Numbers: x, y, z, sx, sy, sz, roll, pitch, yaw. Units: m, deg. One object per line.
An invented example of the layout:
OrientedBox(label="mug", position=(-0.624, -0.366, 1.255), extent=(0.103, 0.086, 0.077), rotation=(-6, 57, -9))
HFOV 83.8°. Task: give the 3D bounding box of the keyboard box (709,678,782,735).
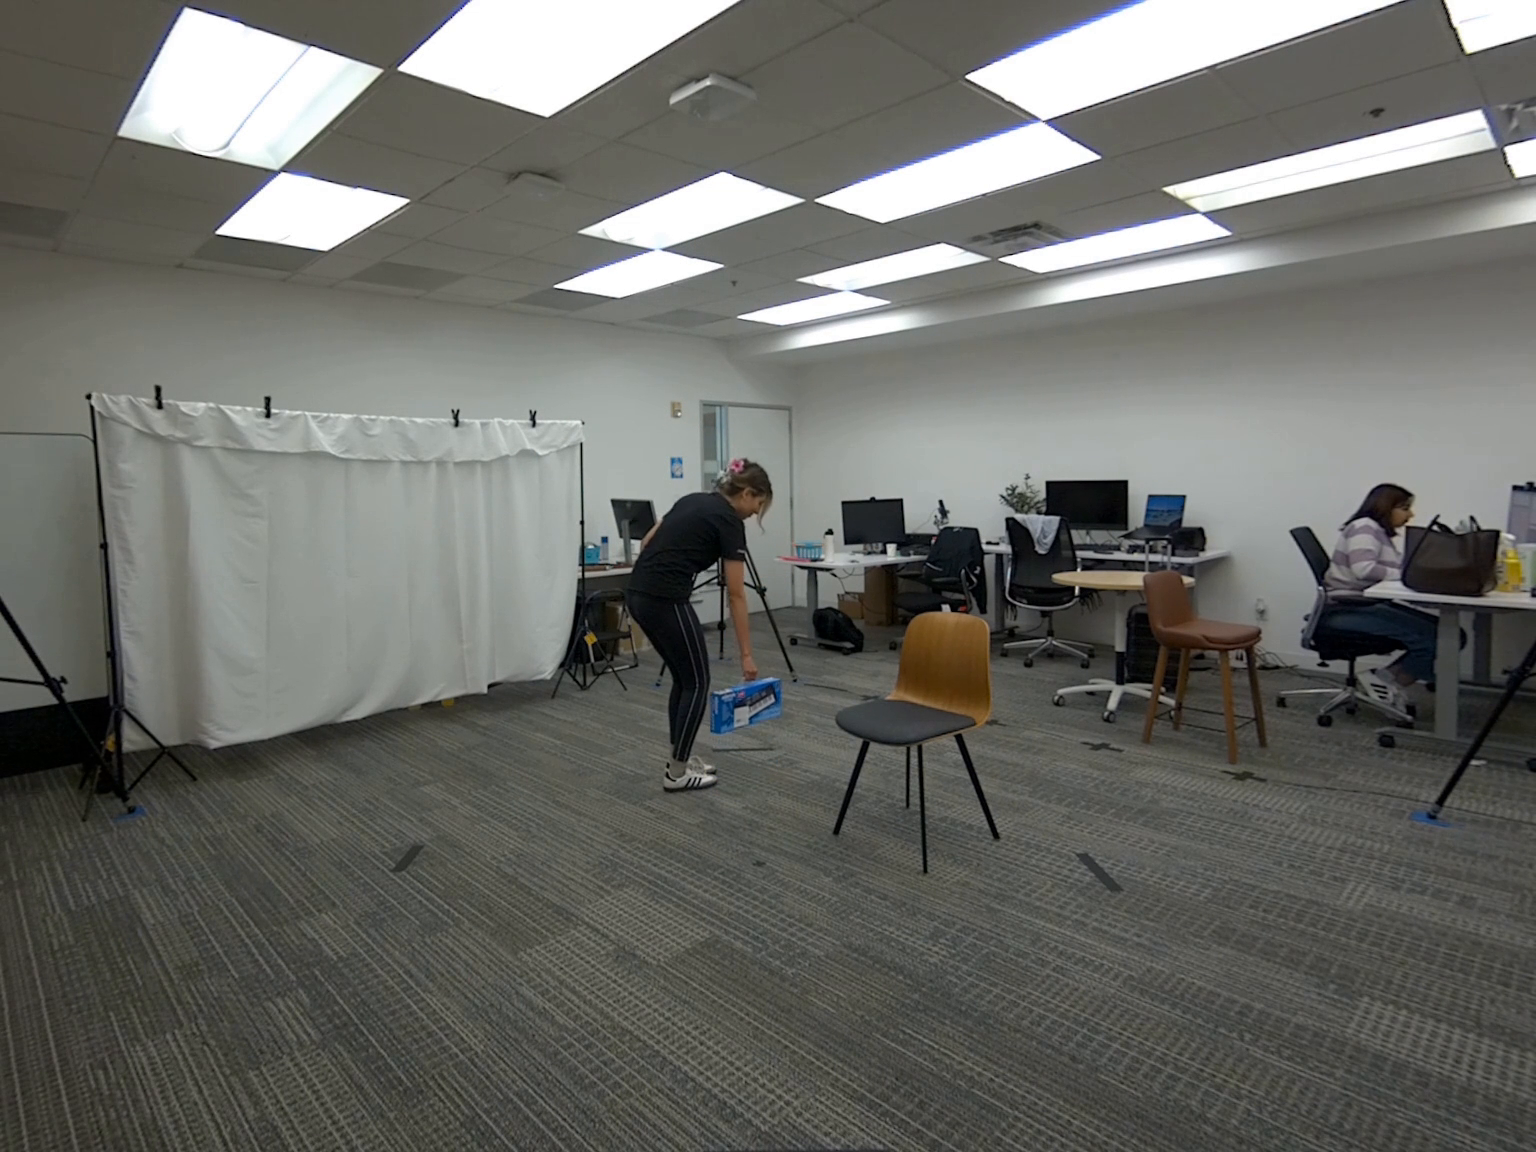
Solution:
OrientedBox(label="keyboard box", position=(-0.095, 0.578, 3.821), extent=(0.061, 0.175, 0.425), rotation=(1, 4, 37))
